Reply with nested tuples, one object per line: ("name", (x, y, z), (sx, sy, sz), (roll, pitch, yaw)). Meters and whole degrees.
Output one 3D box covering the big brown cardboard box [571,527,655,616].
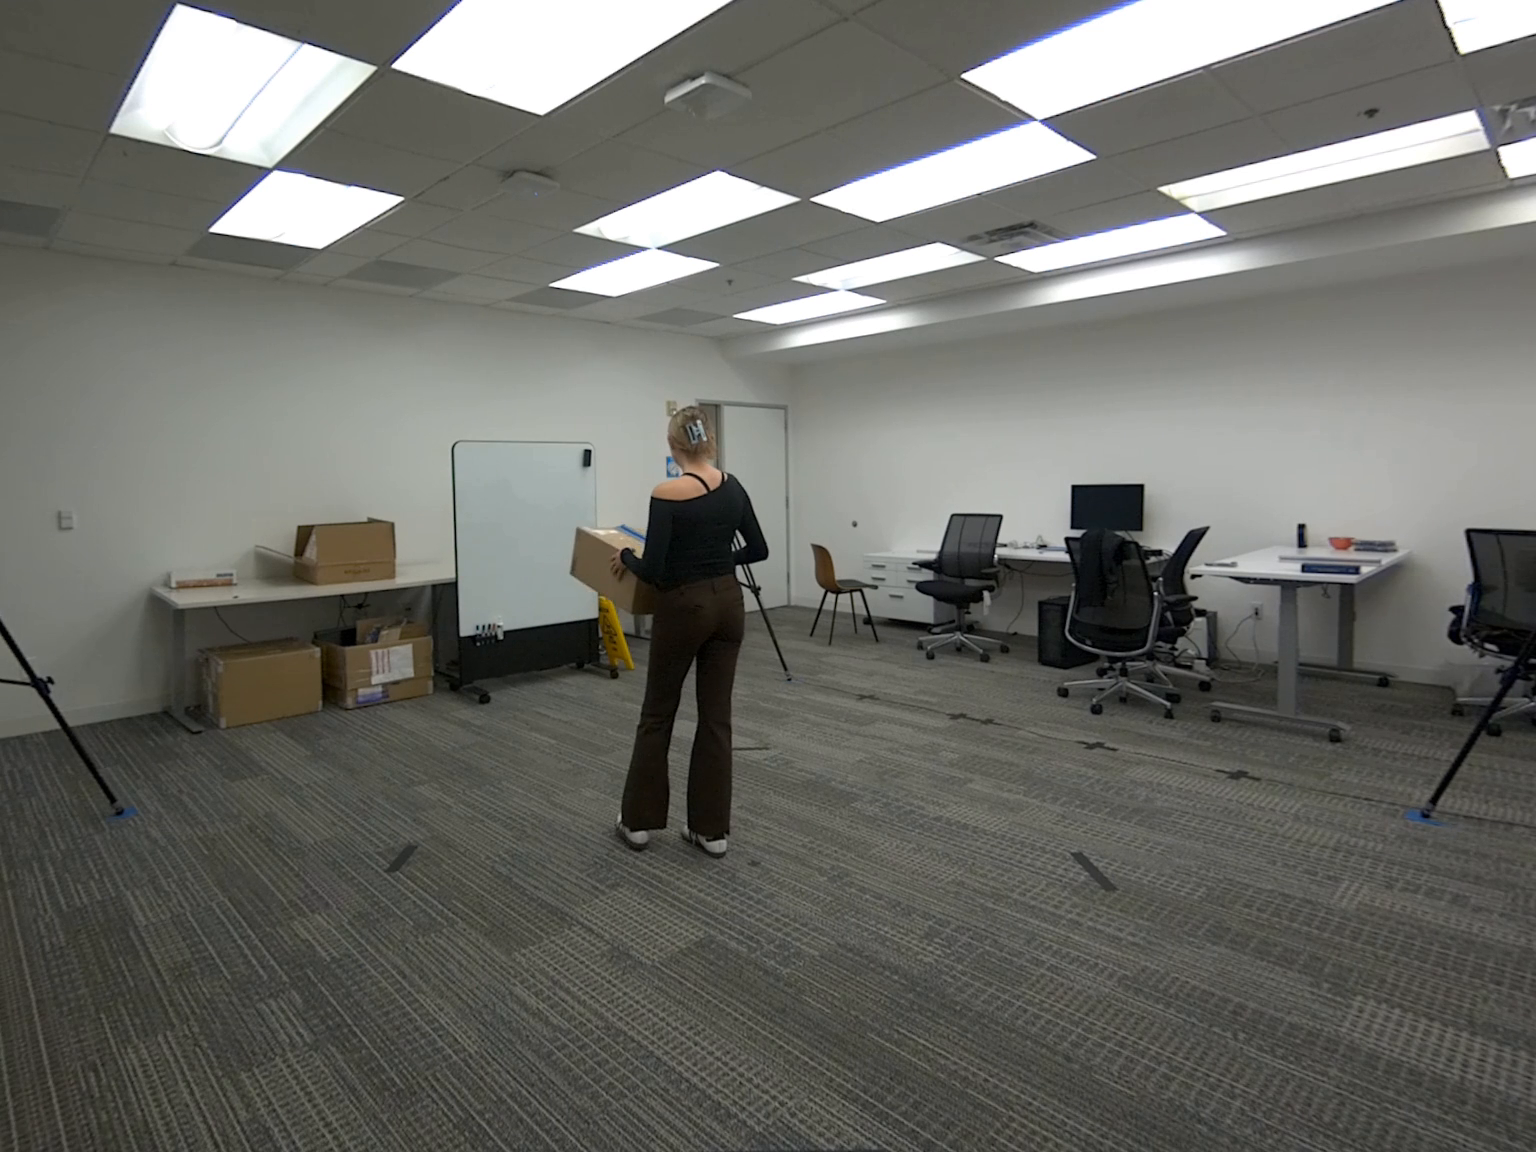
("big brown cardboard box", (-0.509, -0.028, 3.557), (0.406, 0.231, 0.611), (2, 15, -37))
